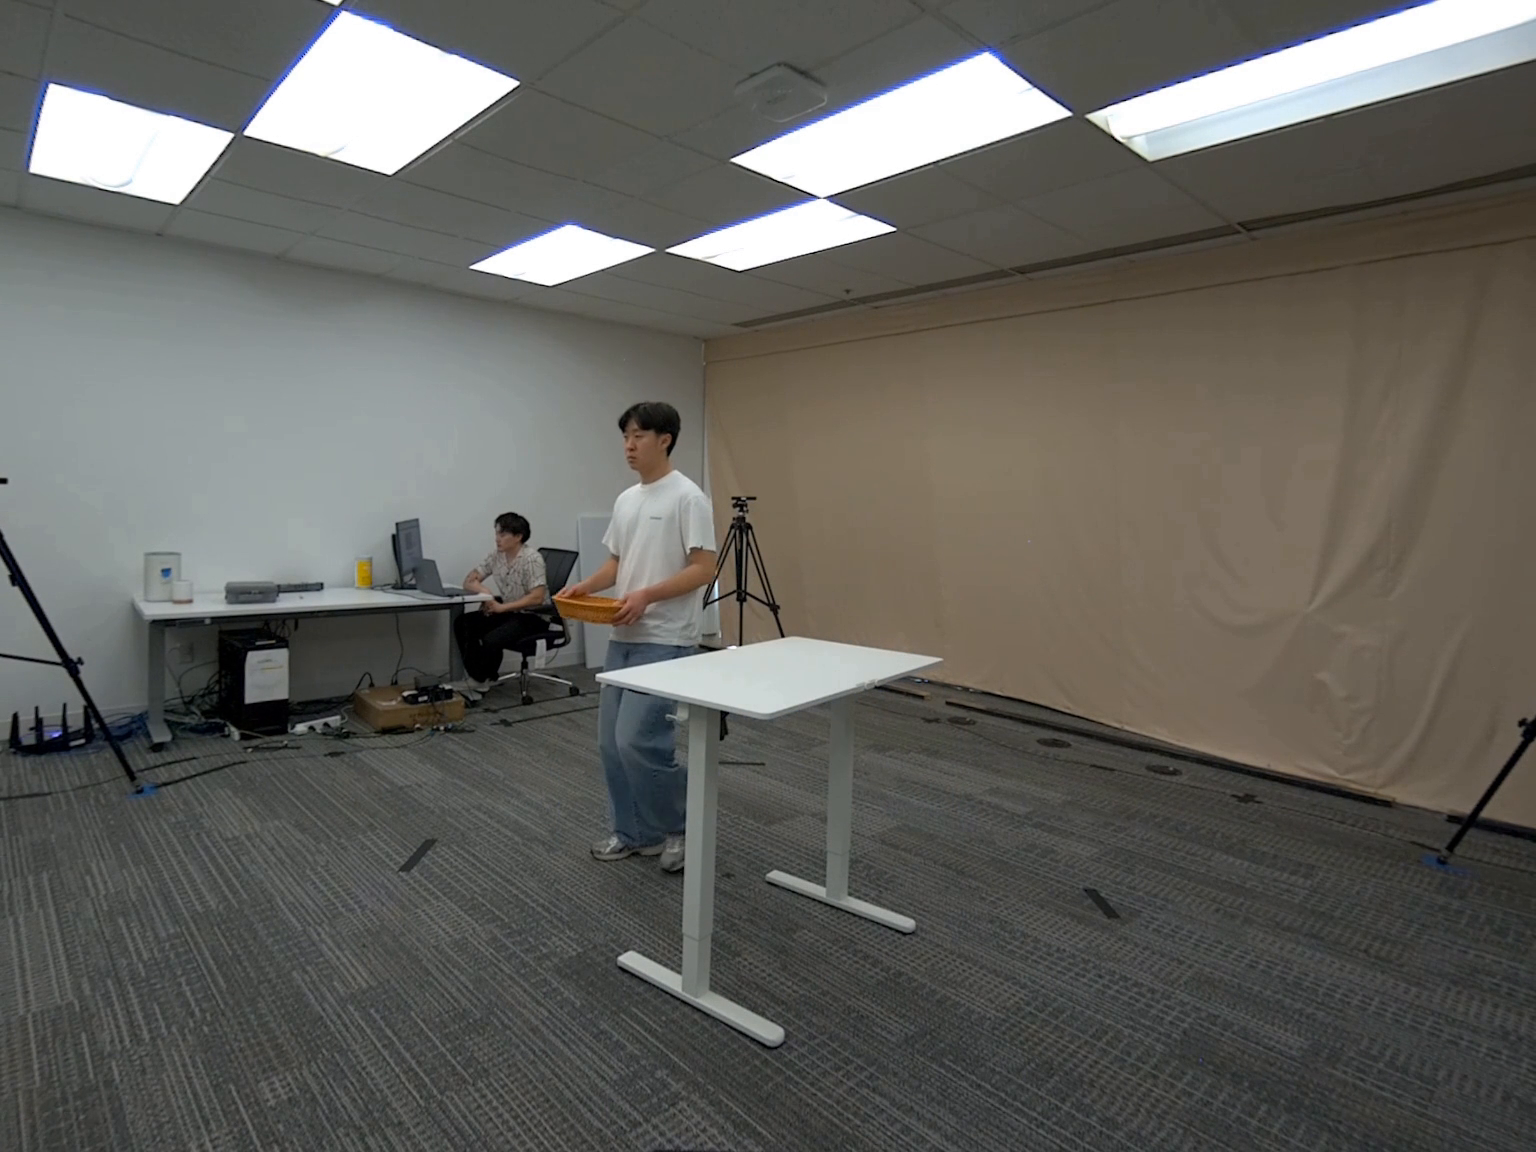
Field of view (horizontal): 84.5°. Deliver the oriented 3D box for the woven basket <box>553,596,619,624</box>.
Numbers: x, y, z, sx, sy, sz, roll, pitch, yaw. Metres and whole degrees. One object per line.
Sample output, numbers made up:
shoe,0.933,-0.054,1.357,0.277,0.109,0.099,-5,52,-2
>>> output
woven basket,-0.627,0.121,3.048,0.246,0.073,0.359,-1,5,-43
